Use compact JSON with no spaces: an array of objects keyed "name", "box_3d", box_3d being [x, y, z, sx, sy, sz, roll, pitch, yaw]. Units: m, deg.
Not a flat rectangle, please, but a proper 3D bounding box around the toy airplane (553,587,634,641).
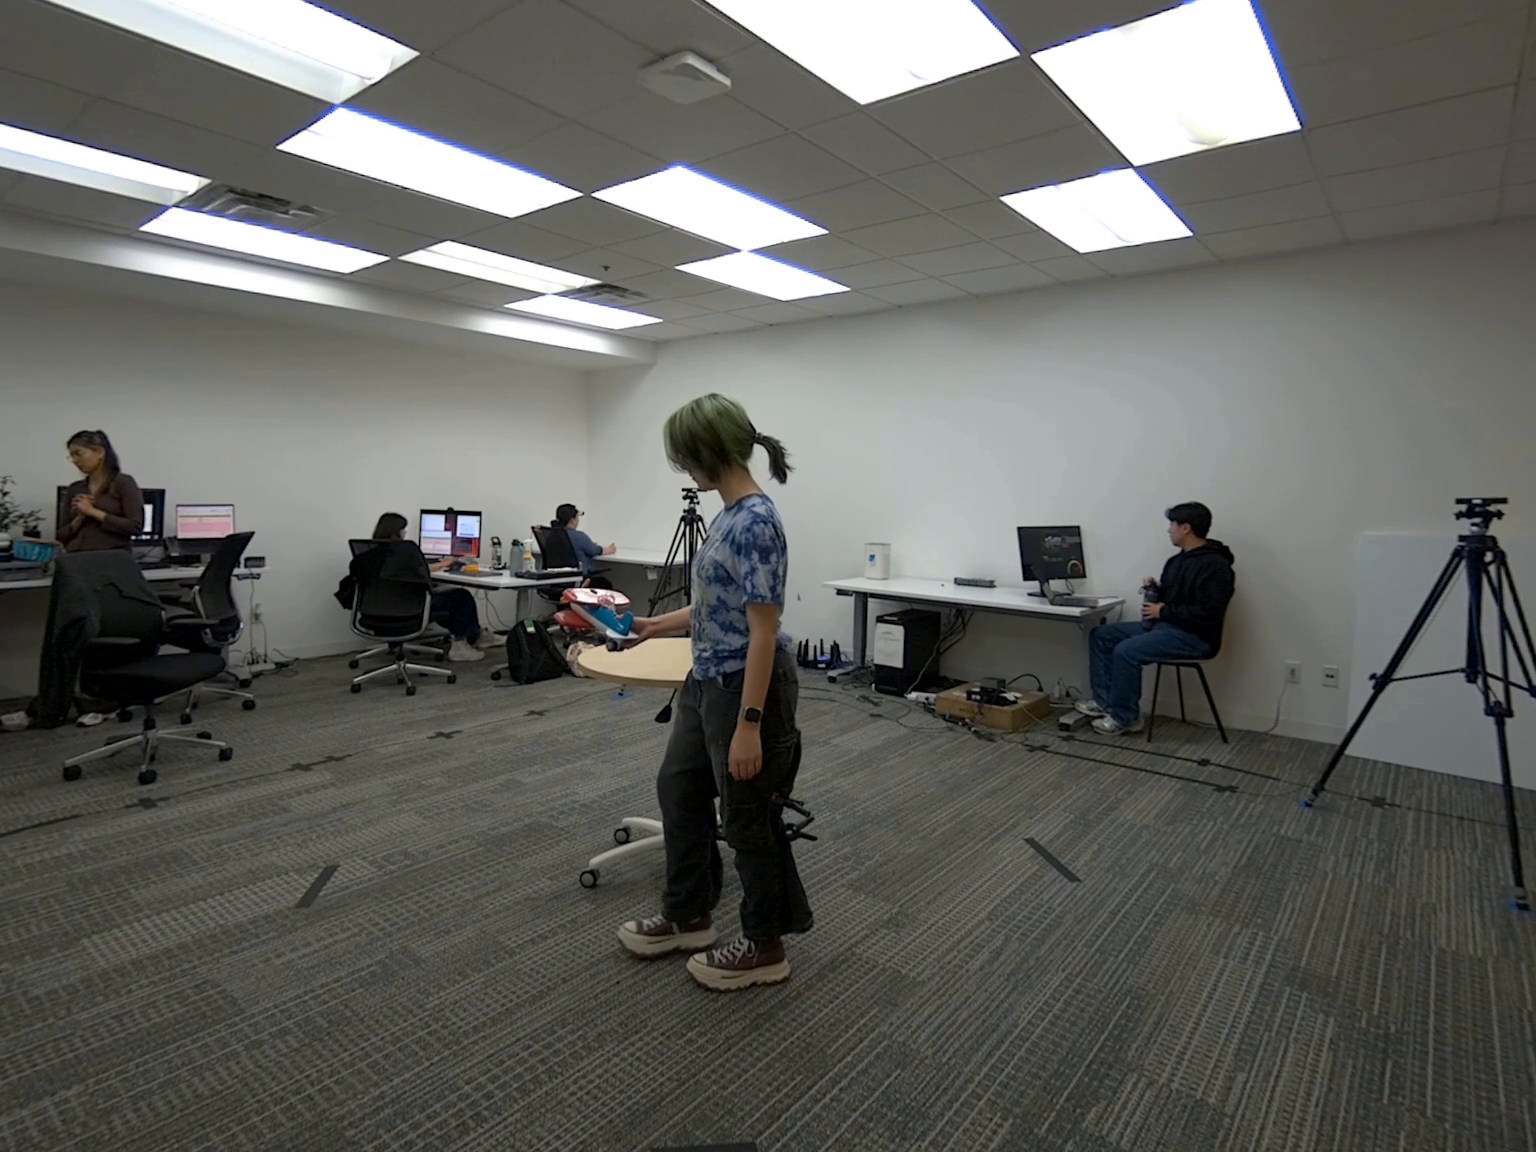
[{"name":"toy airplane","box_3d":[-0.522,0.131,2.640,0.262,0.156,0.249,12,4,8]}]
